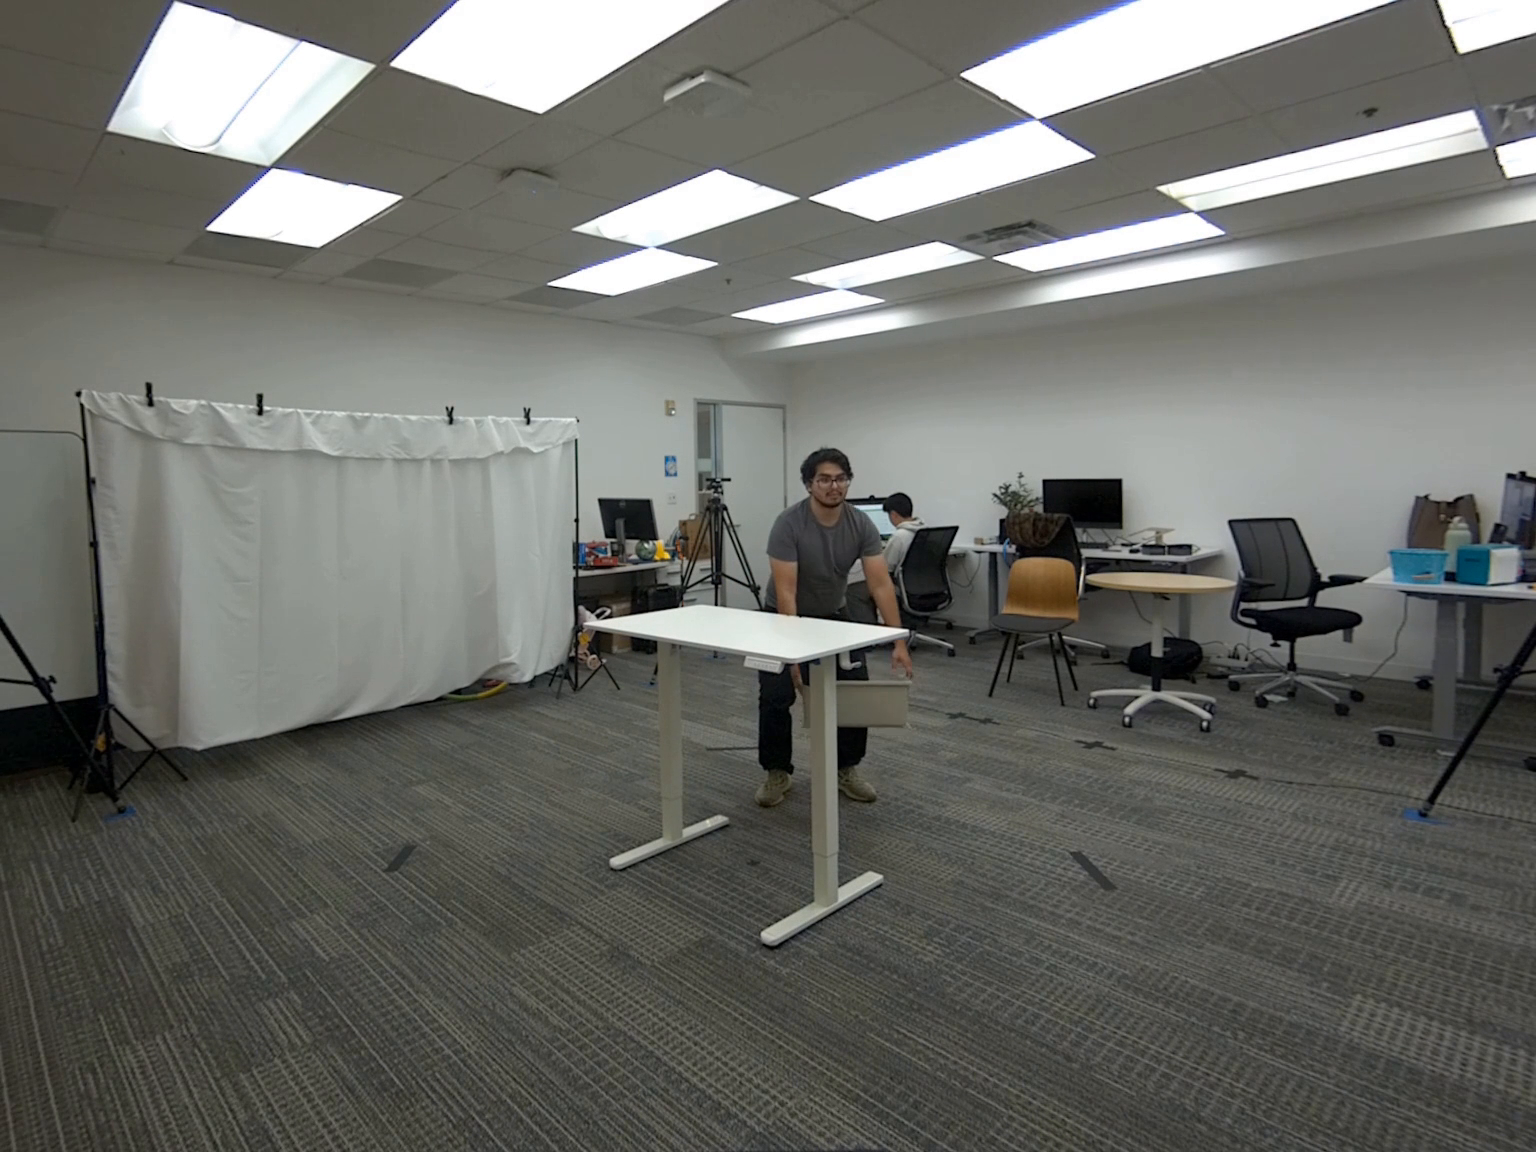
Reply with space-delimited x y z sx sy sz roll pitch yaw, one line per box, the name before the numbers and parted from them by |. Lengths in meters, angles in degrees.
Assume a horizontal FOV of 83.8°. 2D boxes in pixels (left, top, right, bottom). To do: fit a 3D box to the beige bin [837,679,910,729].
beige bin | 0.357 0.491 3.442 0.425 0.188 0.376 -1 5 5
